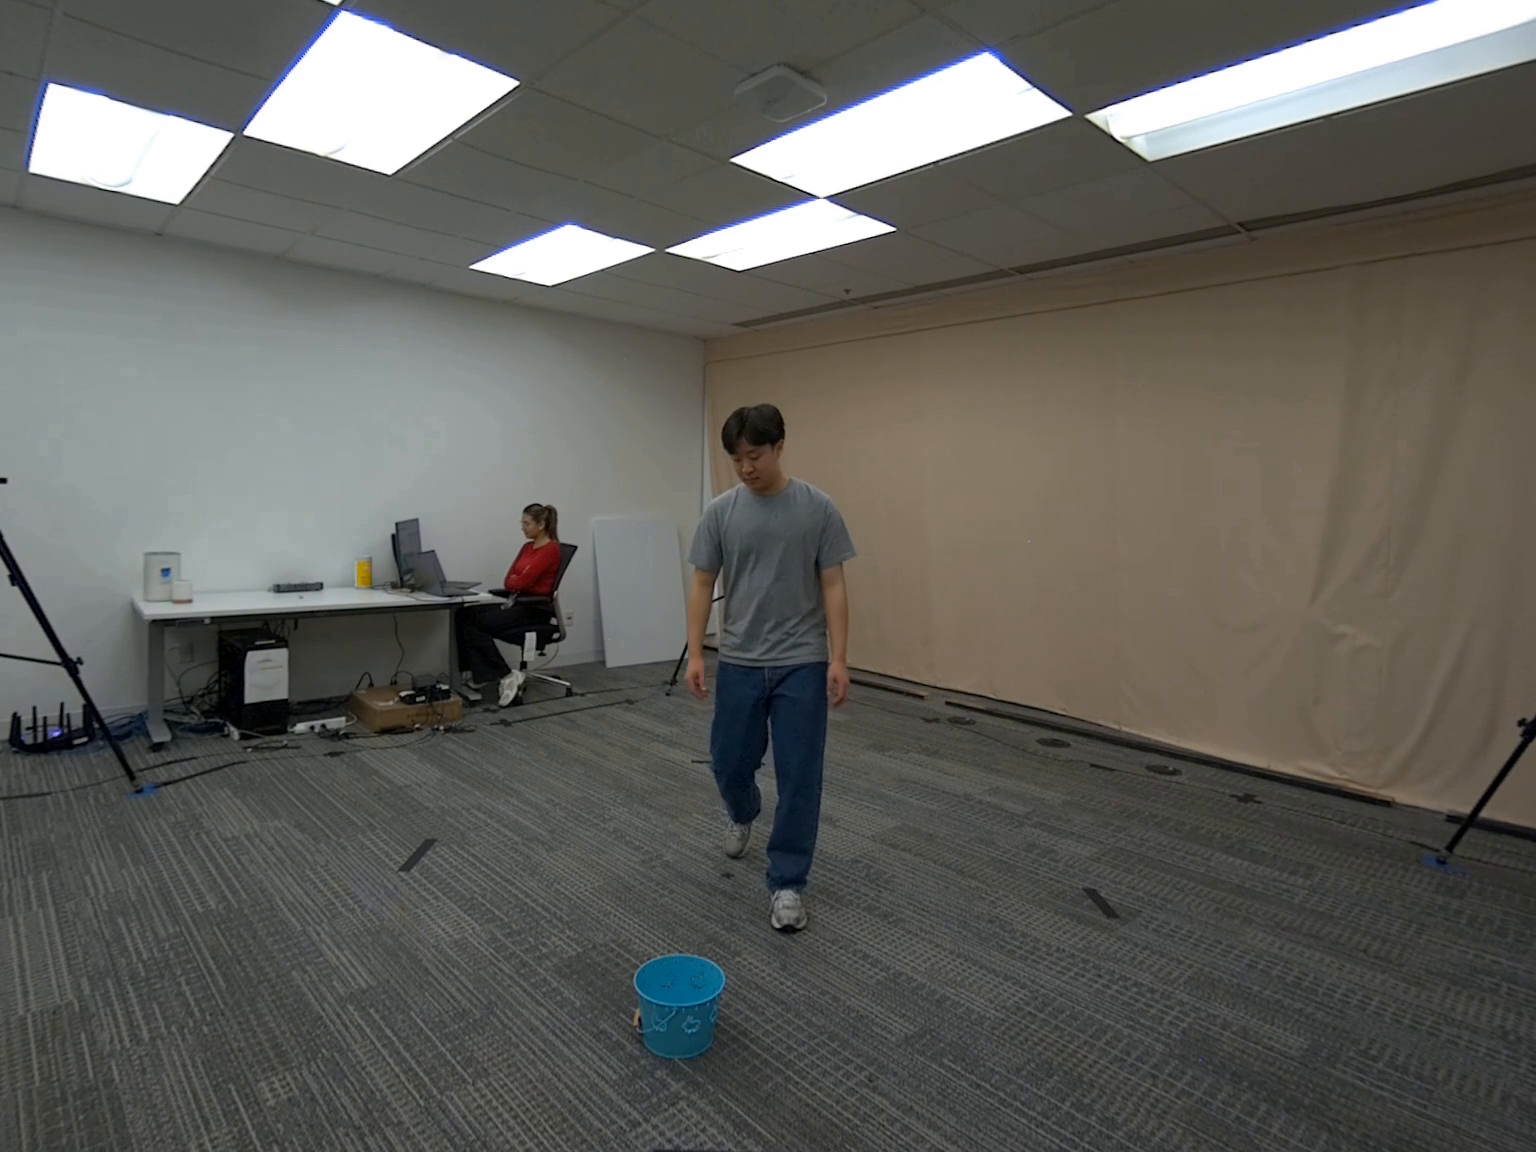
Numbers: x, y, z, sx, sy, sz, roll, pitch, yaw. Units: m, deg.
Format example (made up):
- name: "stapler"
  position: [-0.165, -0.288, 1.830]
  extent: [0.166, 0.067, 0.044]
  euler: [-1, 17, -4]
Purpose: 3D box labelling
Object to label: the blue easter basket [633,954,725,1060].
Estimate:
- name: "blue easter basket"
  position: [-0.238, 1.116, 2.170]
  extent: [0.243, 0.155, 0.245]
  euler: [2, 6, -2]
